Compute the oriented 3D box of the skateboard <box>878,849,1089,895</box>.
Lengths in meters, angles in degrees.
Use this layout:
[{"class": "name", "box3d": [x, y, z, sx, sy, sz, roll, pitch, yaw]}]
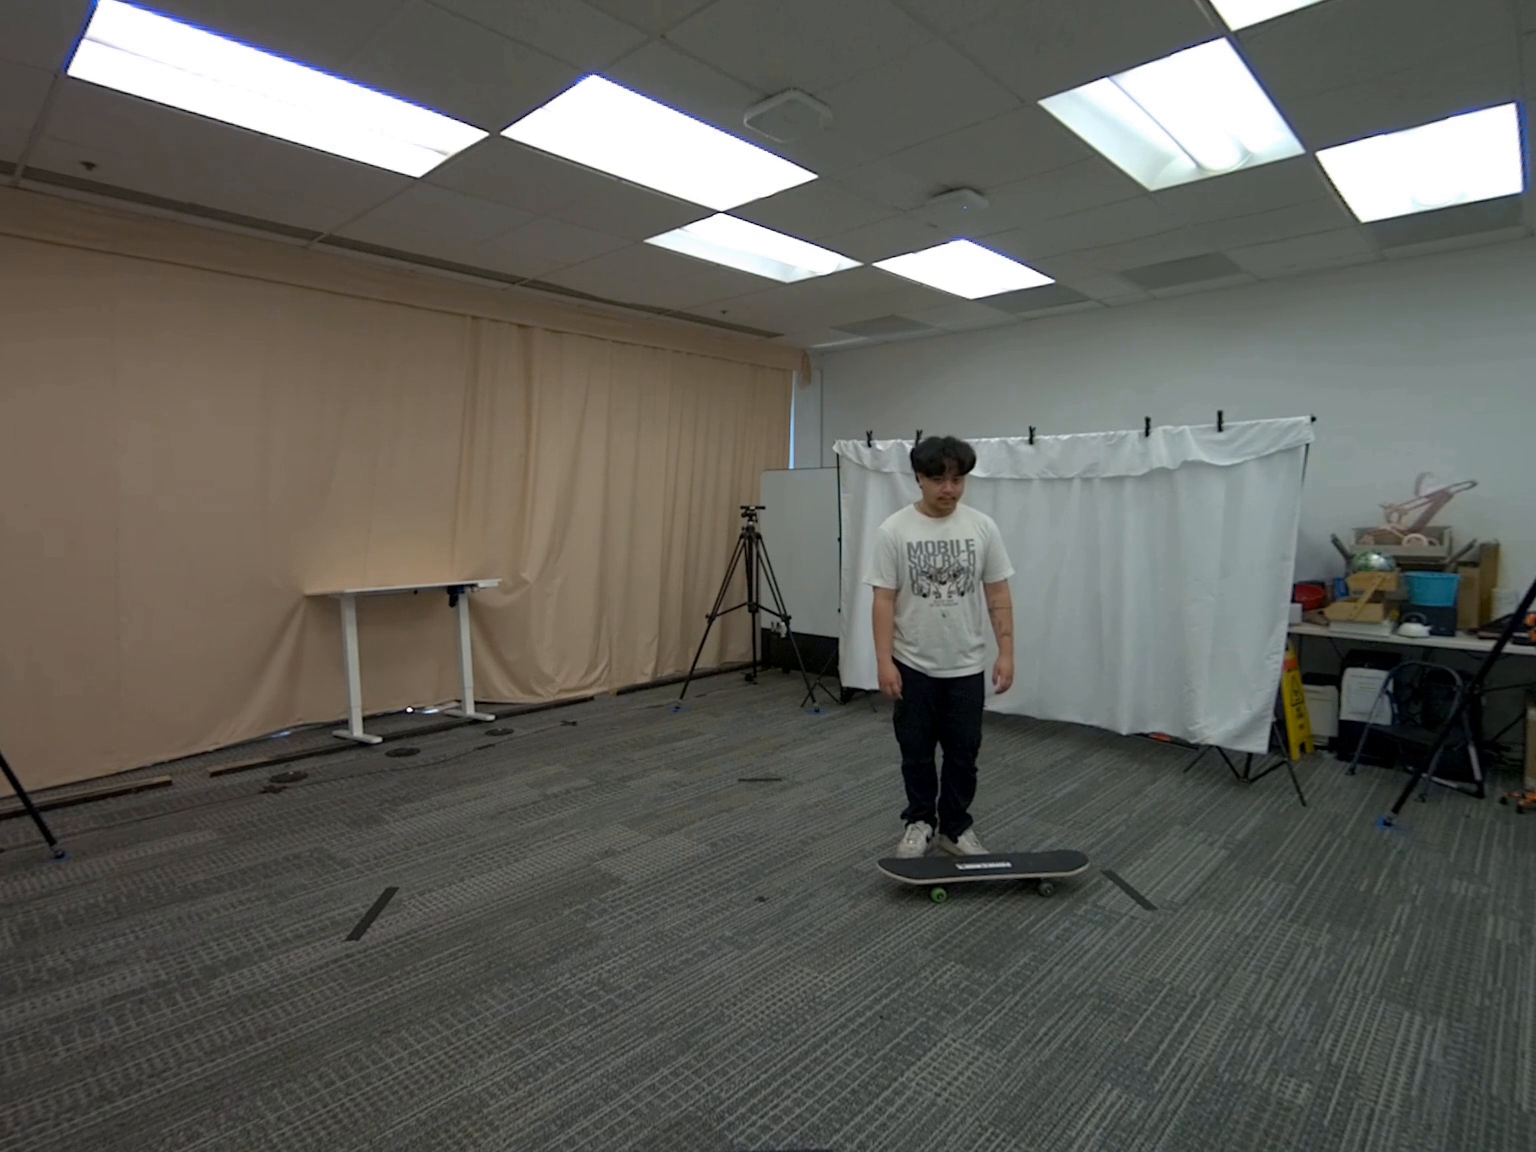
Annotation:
[{"class": "skateboard", "box3d": [0.788, 1.080, 3.050, 0.779, 0.110, 0.195, -1, 4, -7]}]
